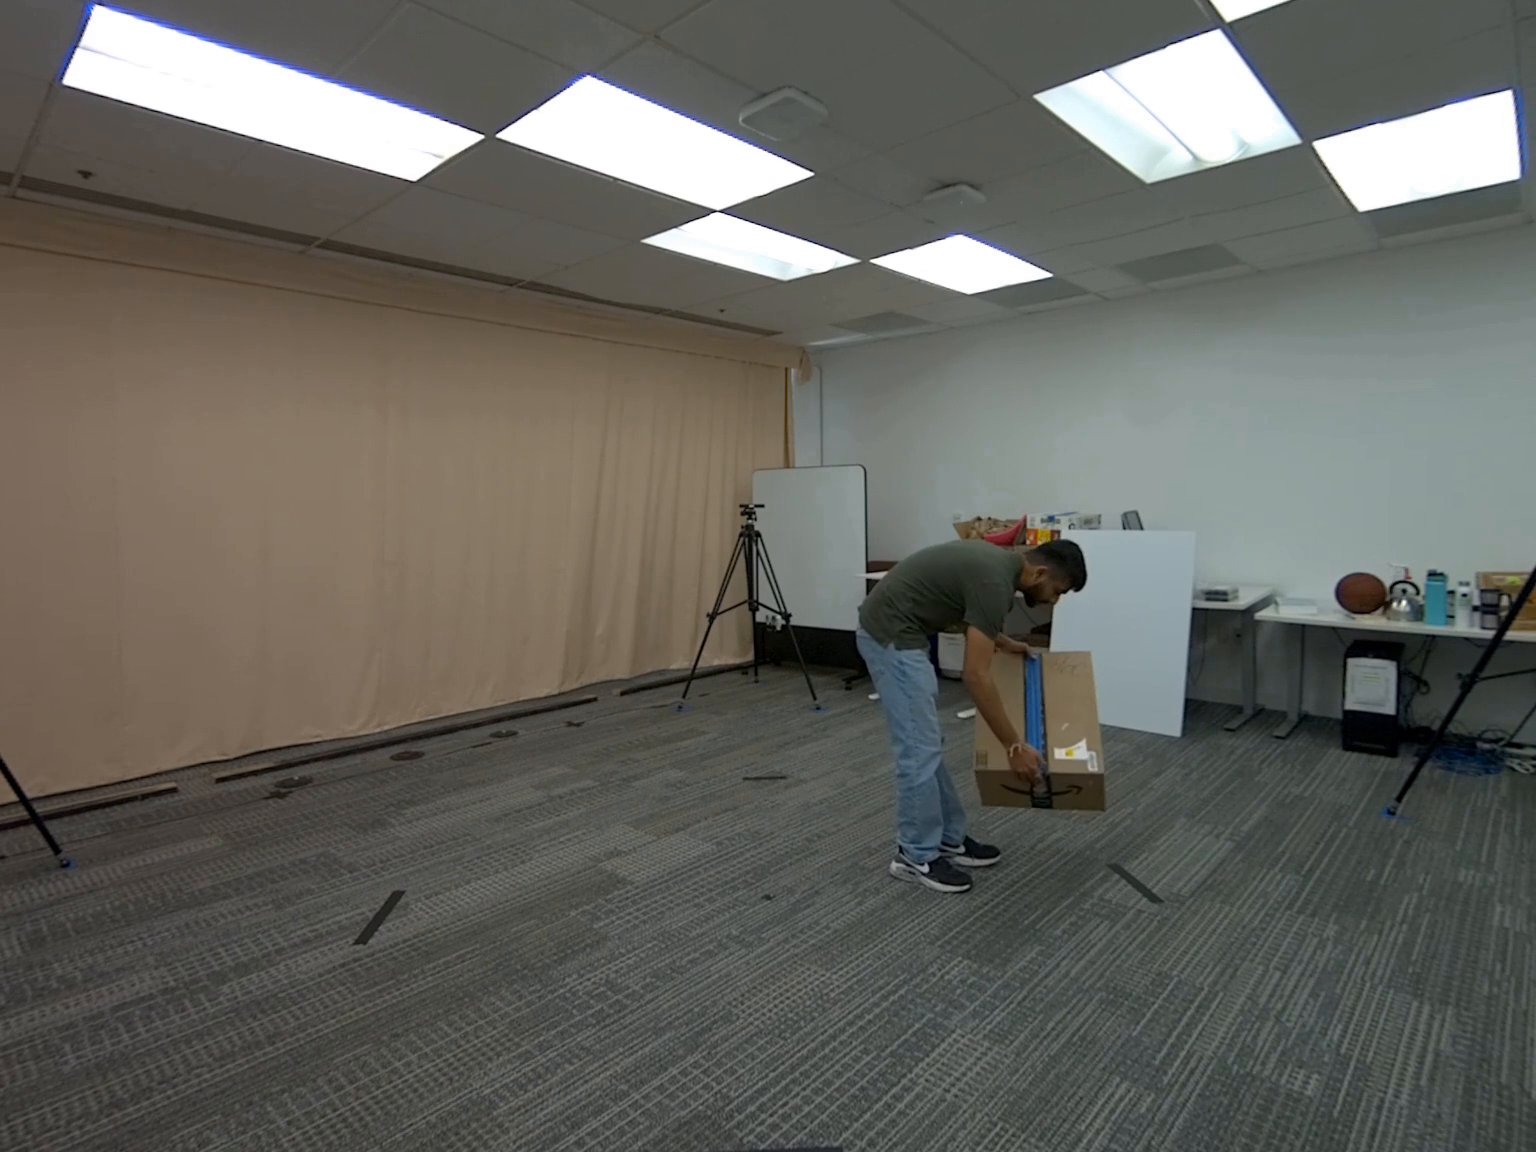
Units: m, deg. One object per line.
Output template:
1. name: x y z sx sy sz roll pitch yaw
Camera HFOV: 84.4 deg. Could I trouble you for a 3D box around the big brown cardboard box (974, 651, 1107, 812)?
1. big brown cardboard box: 1.000 0.557 3.115 0.426 0.227 0.593 -5 39 21
